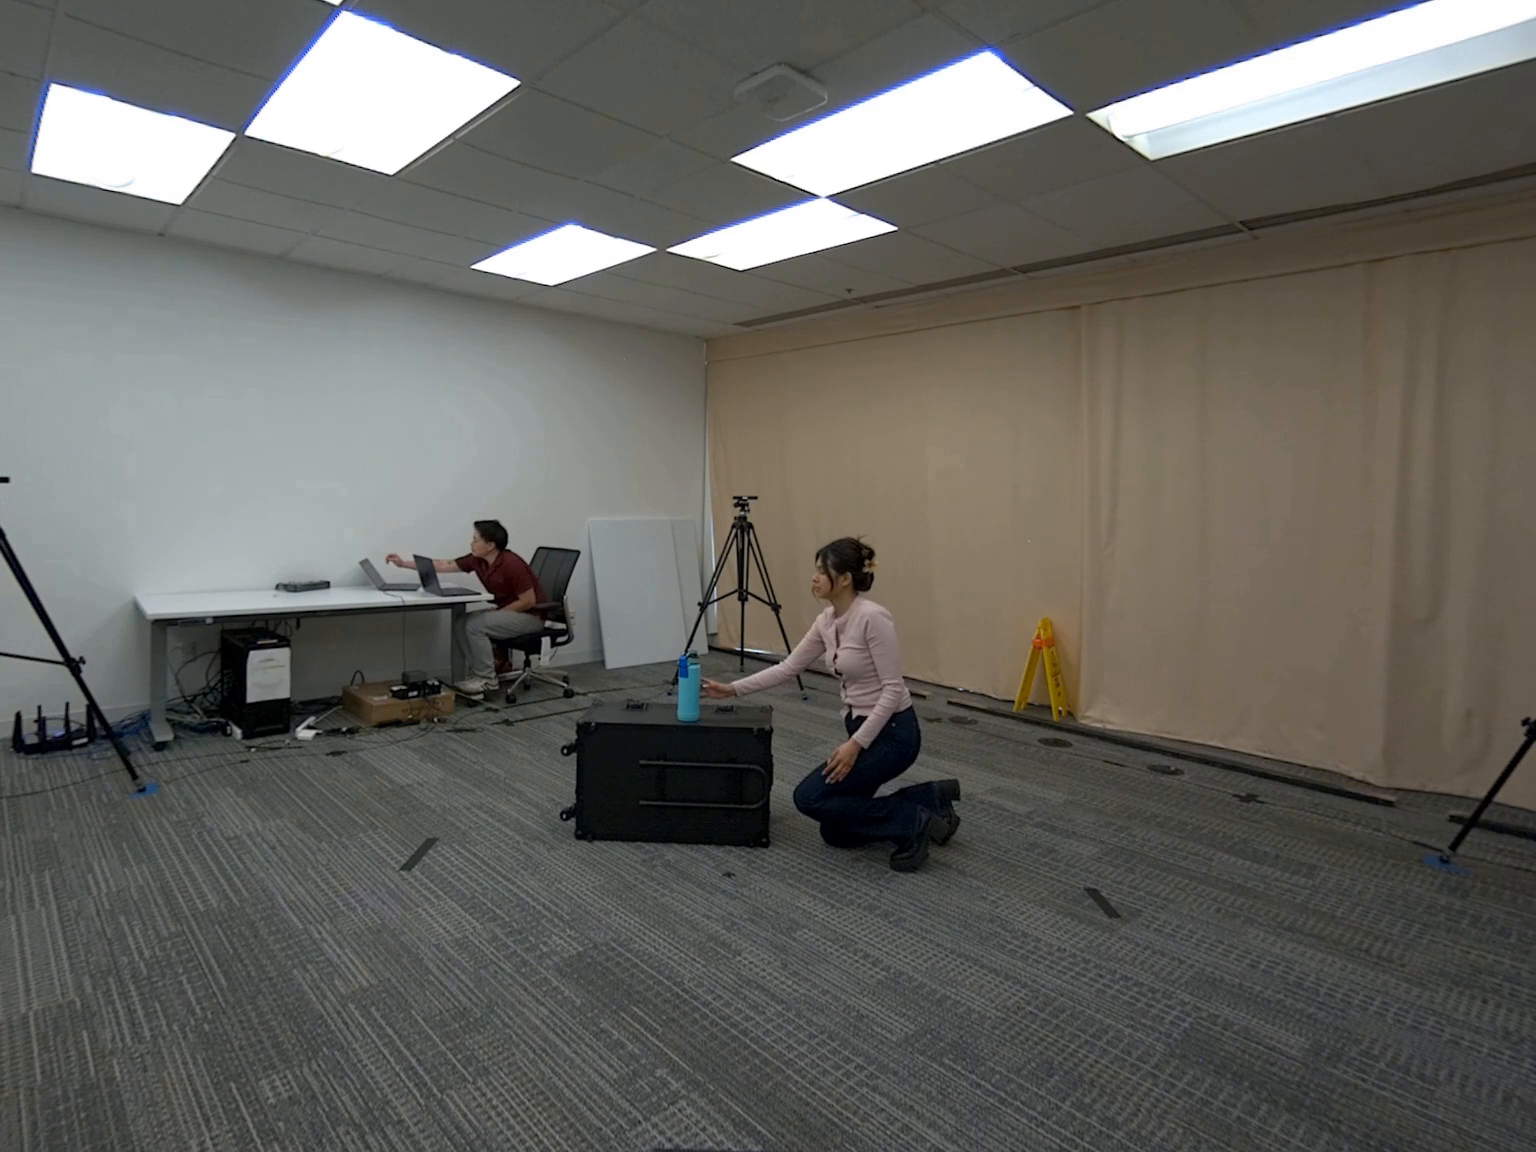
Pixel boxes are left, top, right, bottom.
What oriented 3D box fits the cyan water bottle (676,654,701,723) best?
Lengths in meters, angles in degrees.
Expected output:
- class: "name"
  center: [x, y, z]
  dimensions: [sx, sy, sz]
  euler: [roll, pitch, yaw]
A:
- class: "cyan water bottle"
  center: [-0.326, 0.445, 3.448]
  dimensions: [0.092, 0.283, 0.092]
  euler: [1, 3, -1]
